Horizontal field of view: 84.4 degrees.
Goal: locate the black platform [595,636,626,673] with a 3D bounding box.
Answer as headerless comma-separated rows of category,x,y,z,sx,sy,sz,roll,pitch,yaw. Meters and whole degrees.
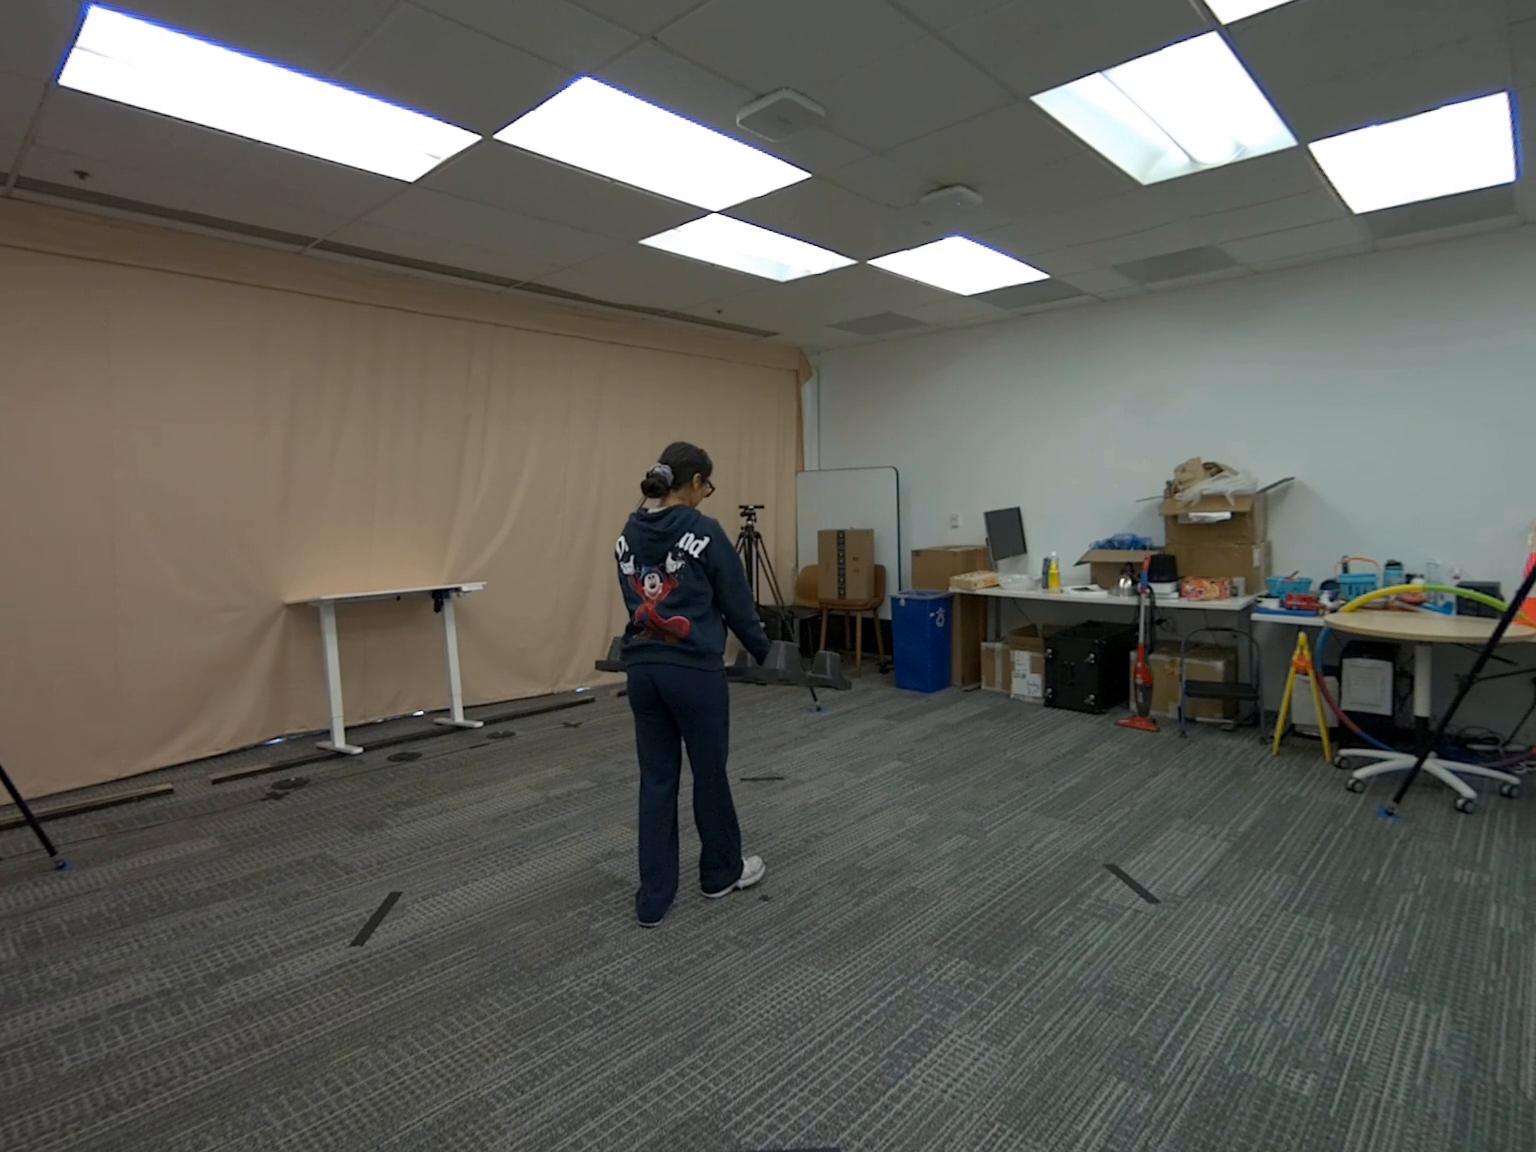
black platform,-0.161,0.329,3.204,0.828,0.144,0.585,-1,-11,30
